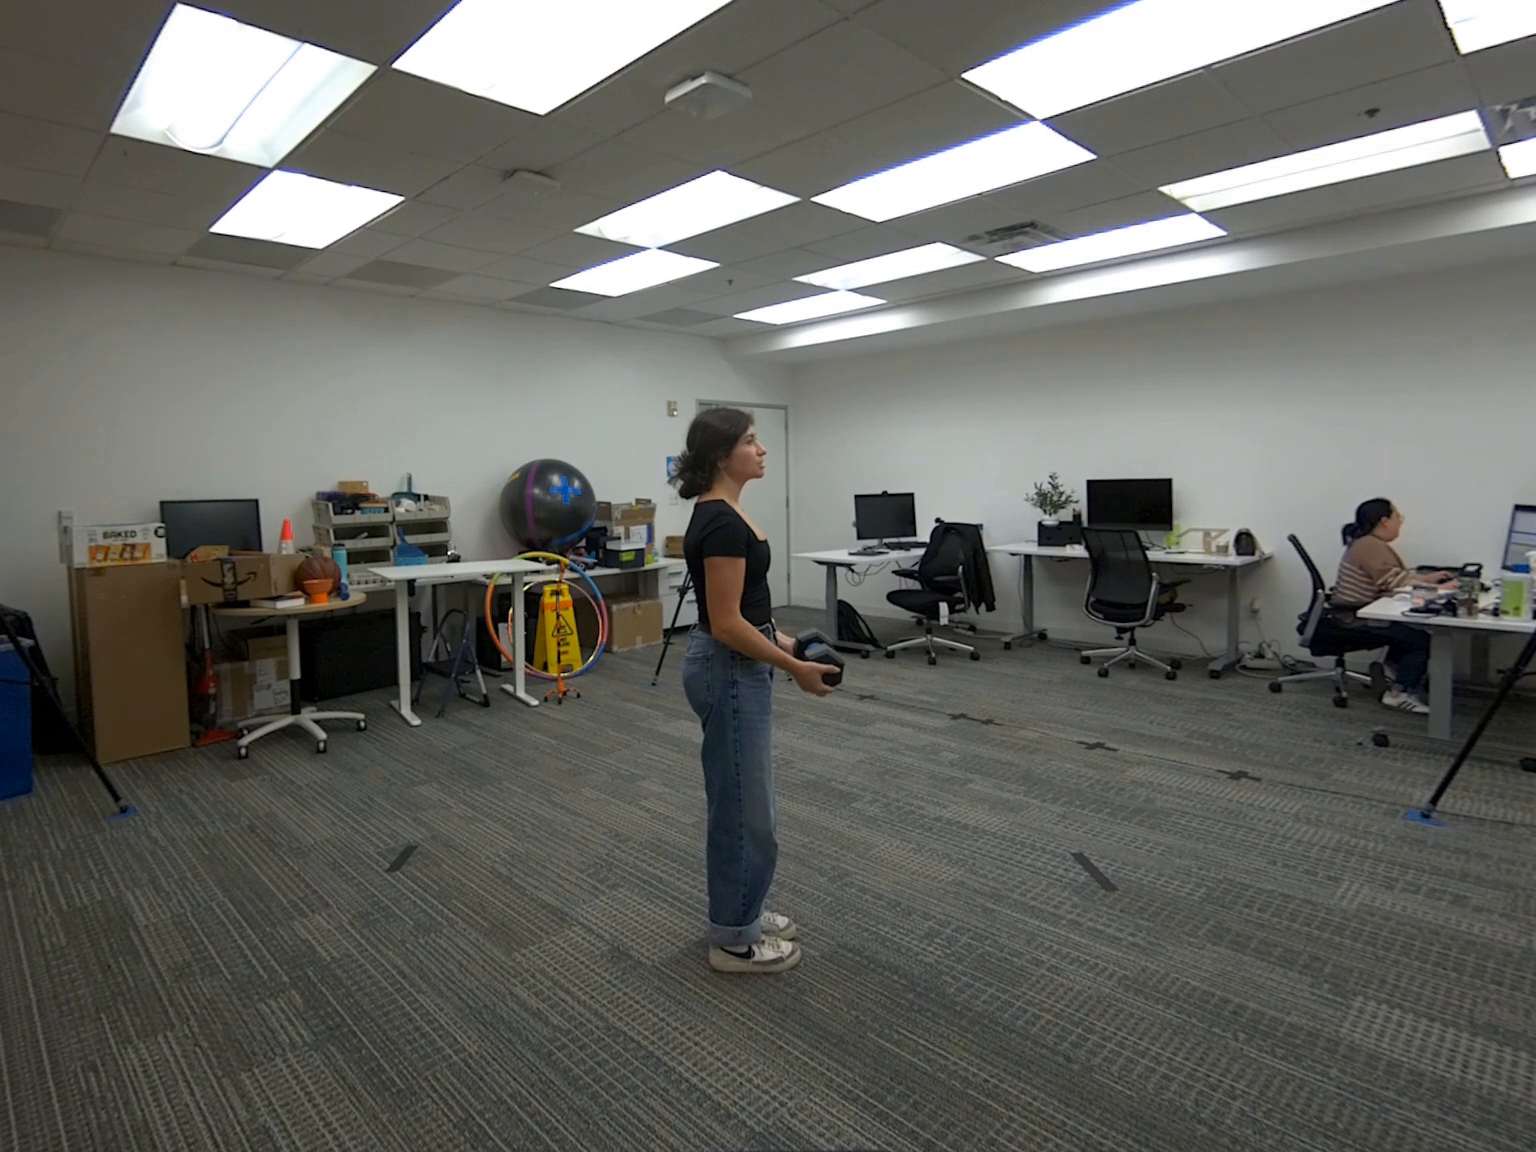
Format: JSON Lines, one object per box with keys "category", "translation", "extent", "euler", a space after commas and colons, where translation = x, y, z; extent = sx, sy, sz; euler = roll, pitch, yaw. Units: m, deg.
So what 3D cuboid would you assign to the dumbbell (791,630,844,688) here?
{"category": "dumbbell", "translation": [0.145, 0.220, 2.465], "extent": [0.123, 0.108, 0.295], "euler": [-20, 7, 0]}
